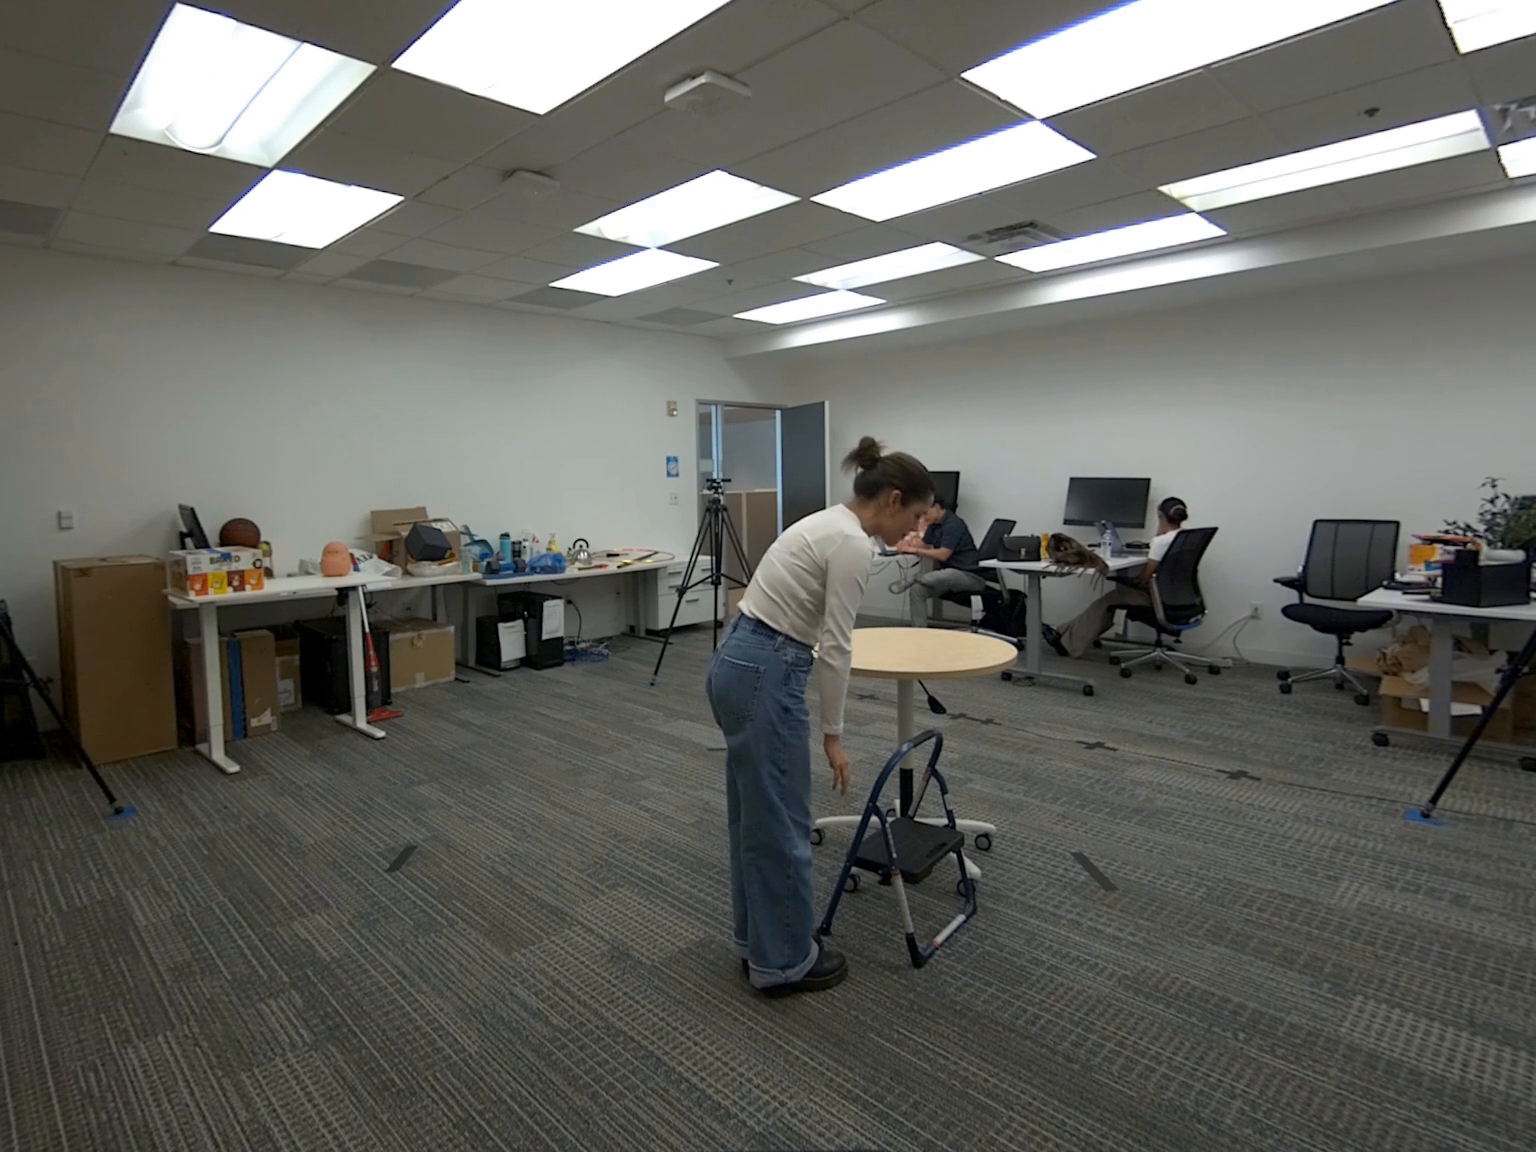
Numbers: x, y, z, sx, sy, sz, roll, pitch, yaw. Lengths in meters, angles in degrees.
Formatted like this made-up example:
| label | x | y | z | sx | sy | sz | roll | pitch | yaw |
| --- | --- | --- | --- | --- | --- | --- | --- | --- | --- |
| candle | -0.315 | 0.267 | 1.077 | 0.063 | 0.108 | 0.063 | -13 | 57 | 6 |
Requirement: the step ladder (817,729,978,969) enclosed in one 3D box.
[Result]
| label | x | y | z | sx | sy | sz | roll | pitch | yaw |
| --- | --- | --- | --- | --- | --- | --- | --- | --- | --- |
| step ladder | 0.406 | 0.781 | 2.660 | 0.359 | 0.604 | 0.420 | 2 | 6 | 37 |
